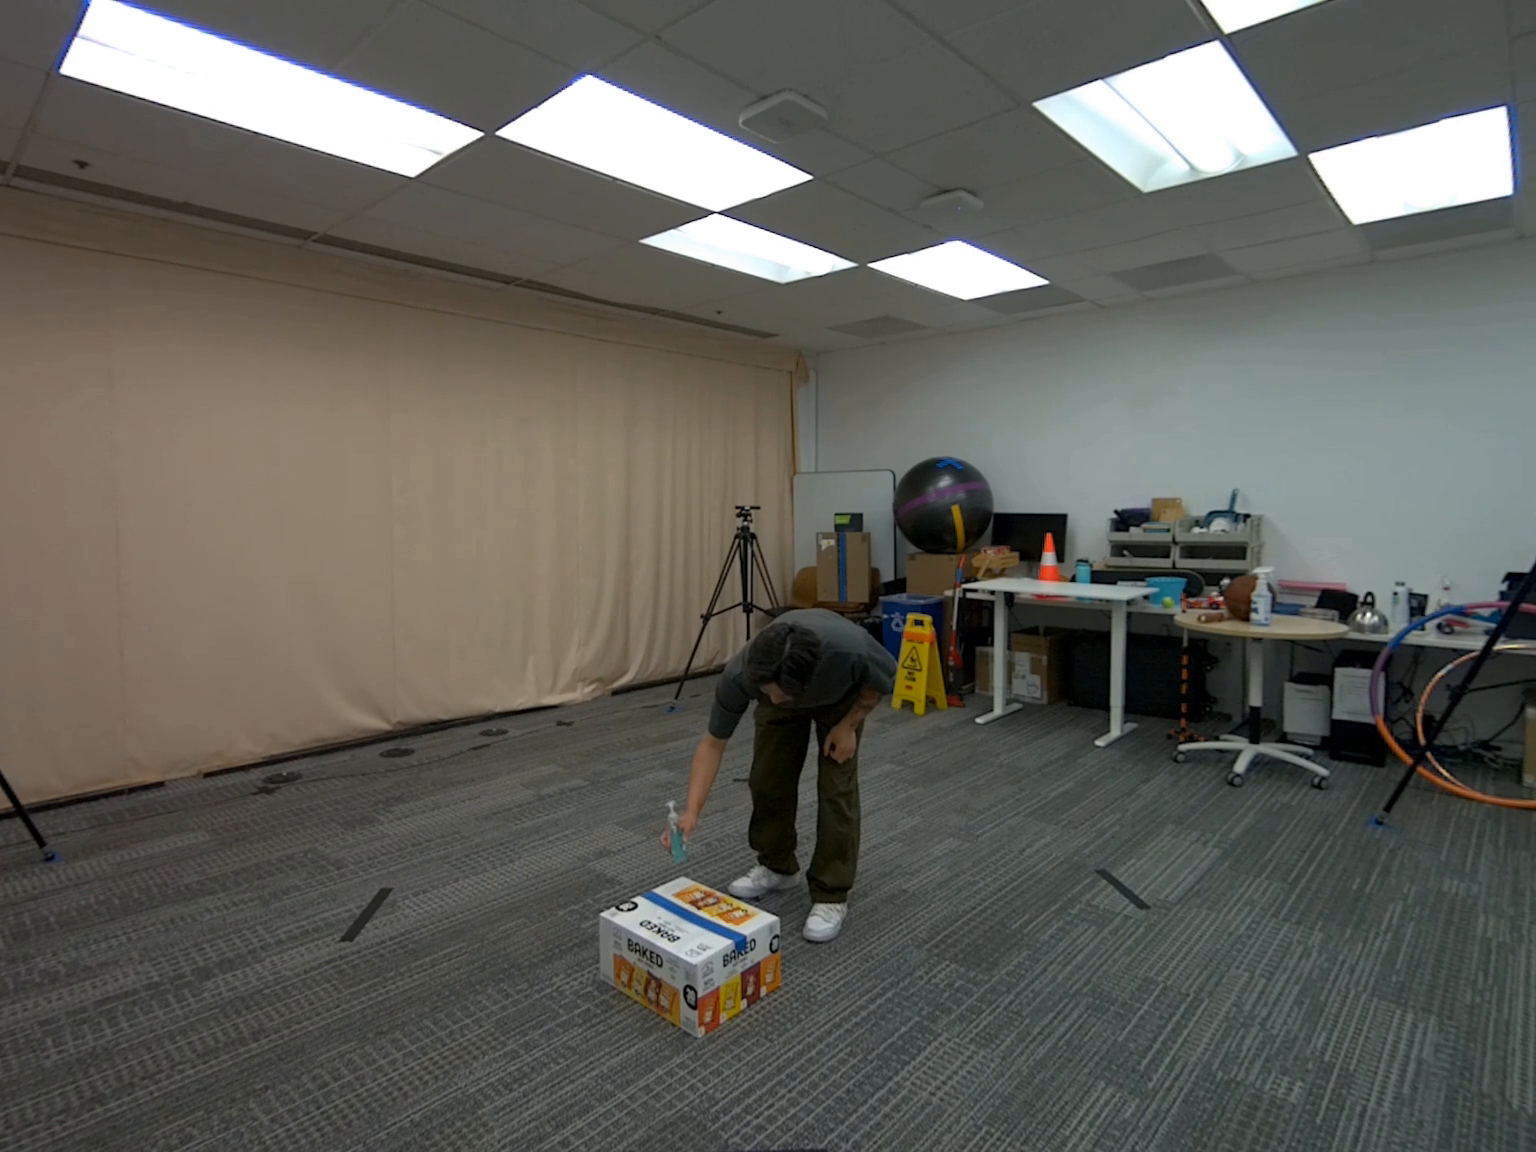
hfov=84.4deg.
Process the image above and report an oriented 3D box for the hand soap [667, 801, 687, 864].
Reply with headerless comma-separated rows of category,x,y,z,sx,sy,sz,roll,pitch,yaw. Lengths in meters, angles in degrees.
hand soap,-0.265,0.757,2.492,0.044,0.168,0.084,-8,0,5
